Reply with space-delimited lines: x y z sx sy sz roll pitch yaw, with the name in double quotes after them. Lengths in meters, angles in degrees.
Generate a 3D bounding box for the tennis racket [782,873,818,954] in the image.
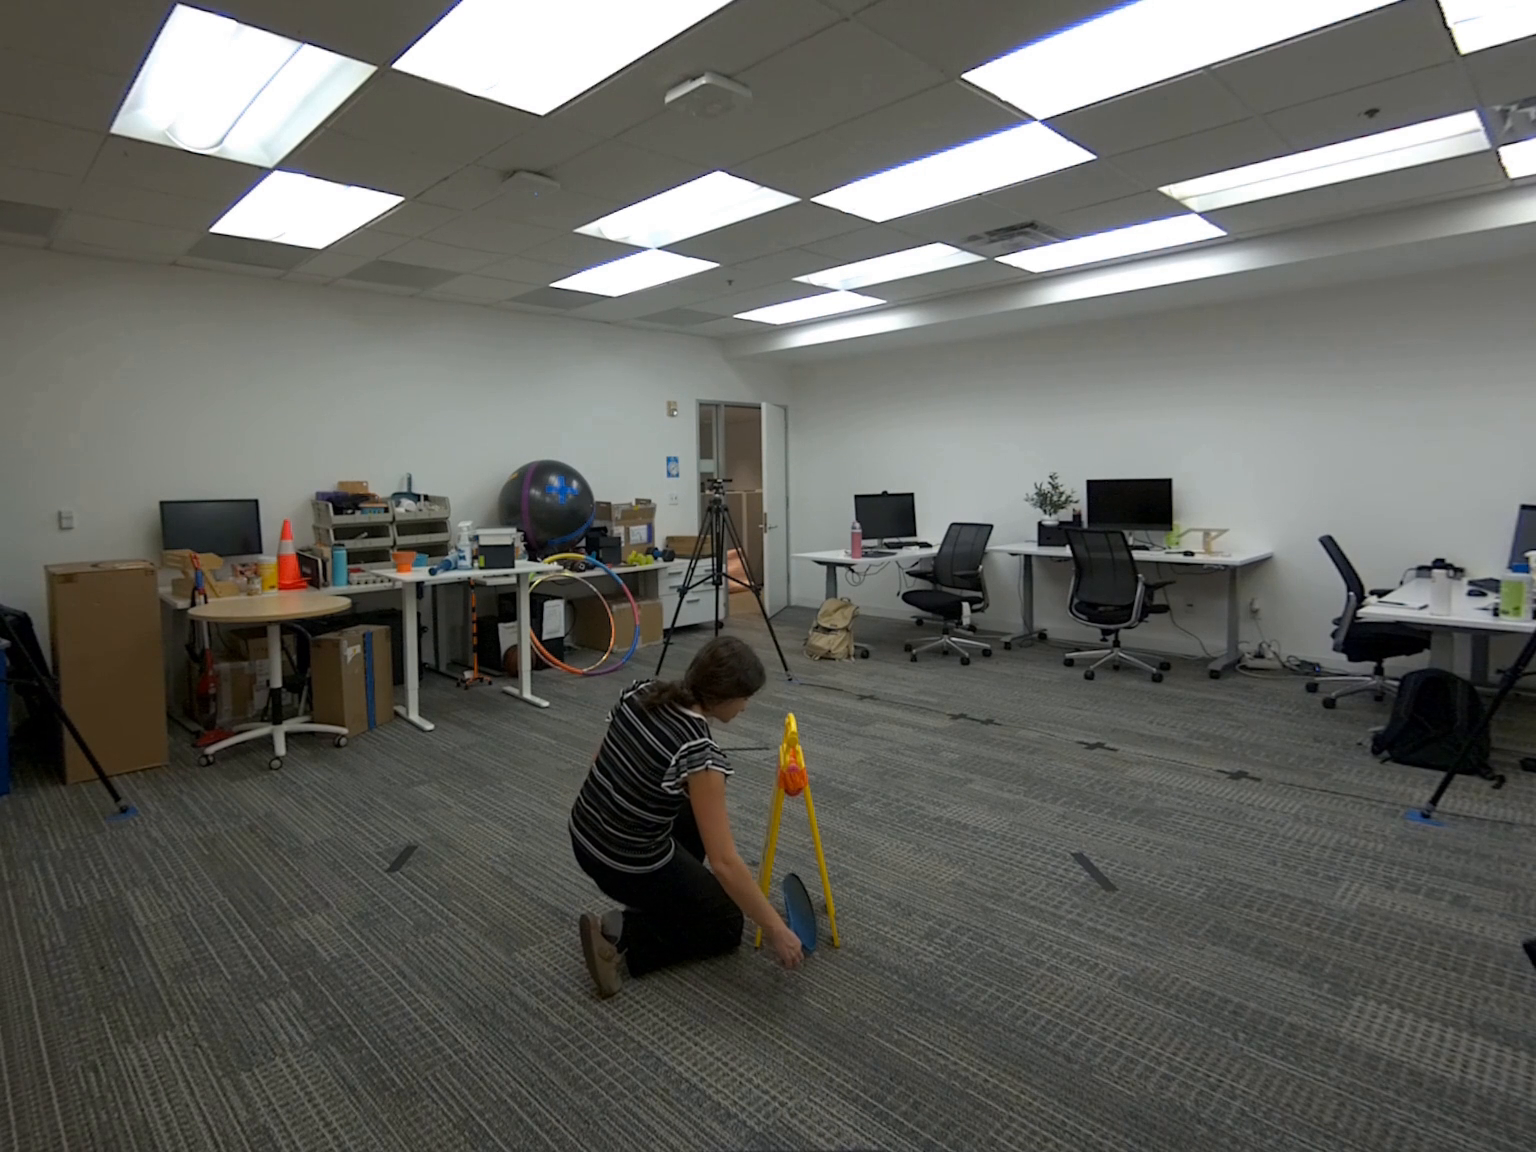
0.082 1.010 2.483 0.032 0.216 0.428 -29 -5 6 "tennis racket"
